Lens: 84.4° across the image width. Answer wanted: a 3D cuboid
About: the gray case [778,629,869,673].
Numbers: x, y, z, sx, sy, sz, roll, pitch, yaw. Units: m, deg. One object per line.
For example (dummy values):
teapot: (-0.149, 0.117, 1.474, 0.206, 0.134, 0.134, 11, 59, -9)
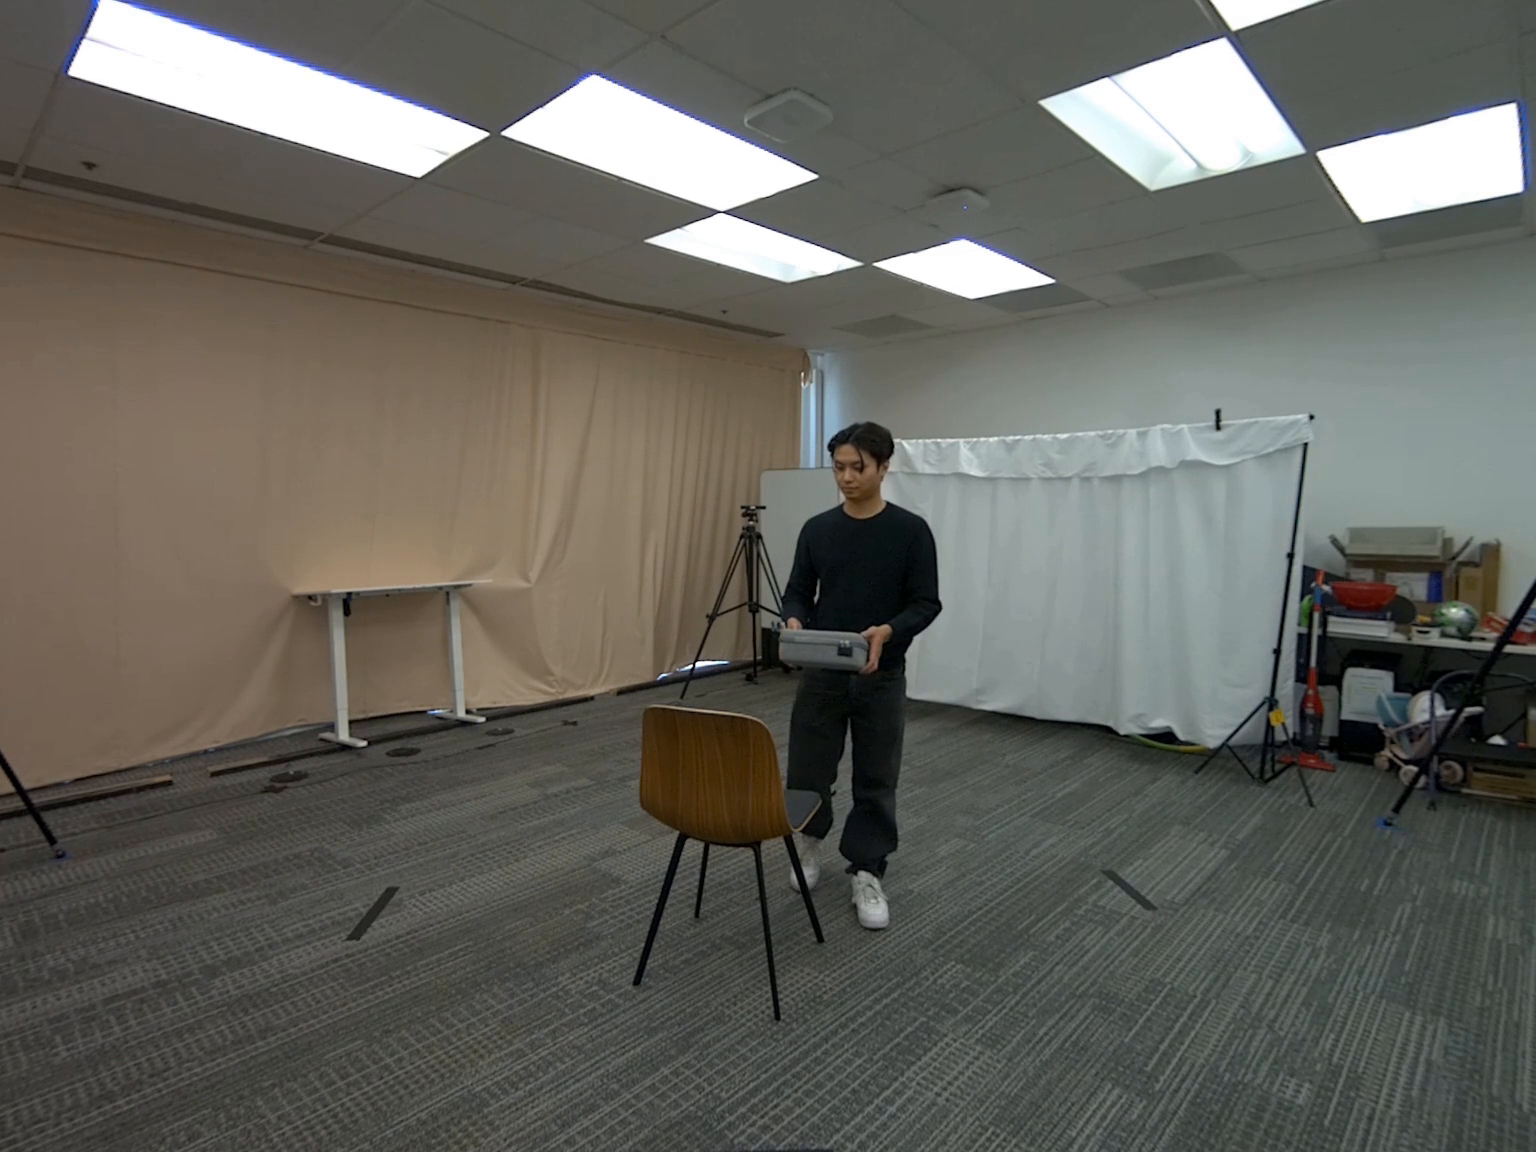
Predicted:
gray case: (0.186, 0.230, 2.649, 0.262, 0.105, 0.254, 2, -8, 18)
